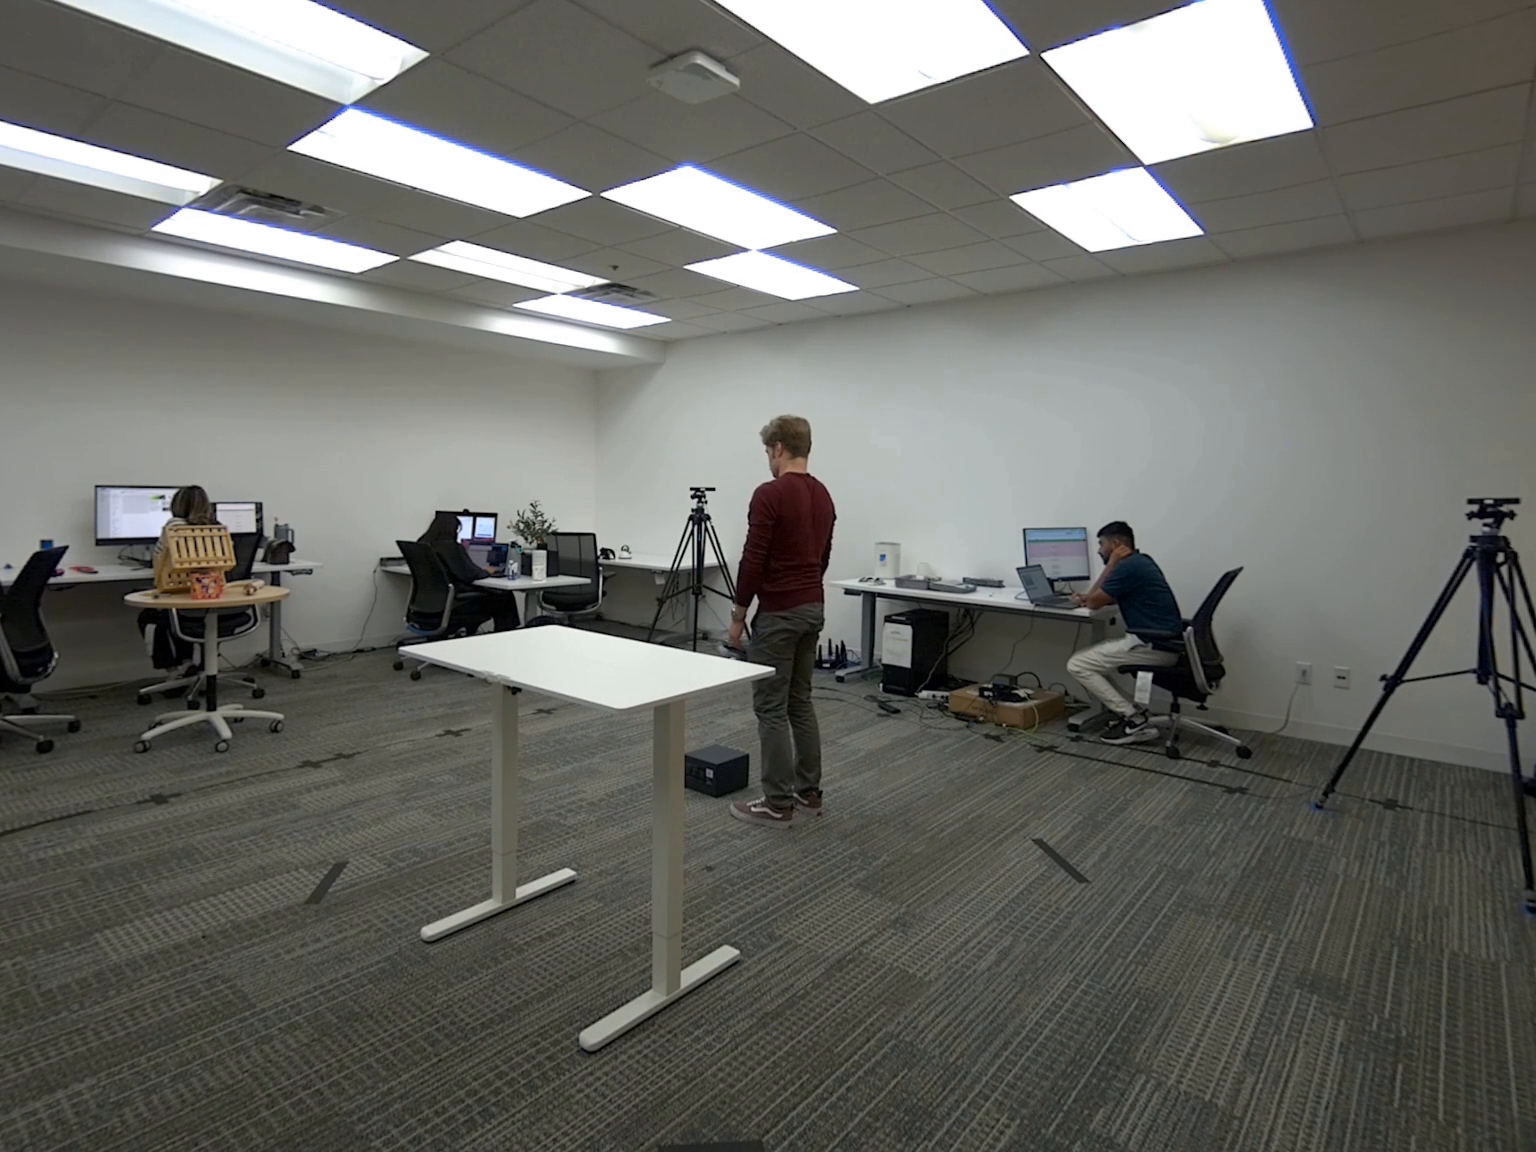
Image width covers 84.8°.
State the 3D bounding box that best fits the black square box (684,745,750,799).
[{"bbox_3d":[-0.254,0.900,3.971,0.224,0.155,0.221,5,6,40],"label":"black square box"}]
